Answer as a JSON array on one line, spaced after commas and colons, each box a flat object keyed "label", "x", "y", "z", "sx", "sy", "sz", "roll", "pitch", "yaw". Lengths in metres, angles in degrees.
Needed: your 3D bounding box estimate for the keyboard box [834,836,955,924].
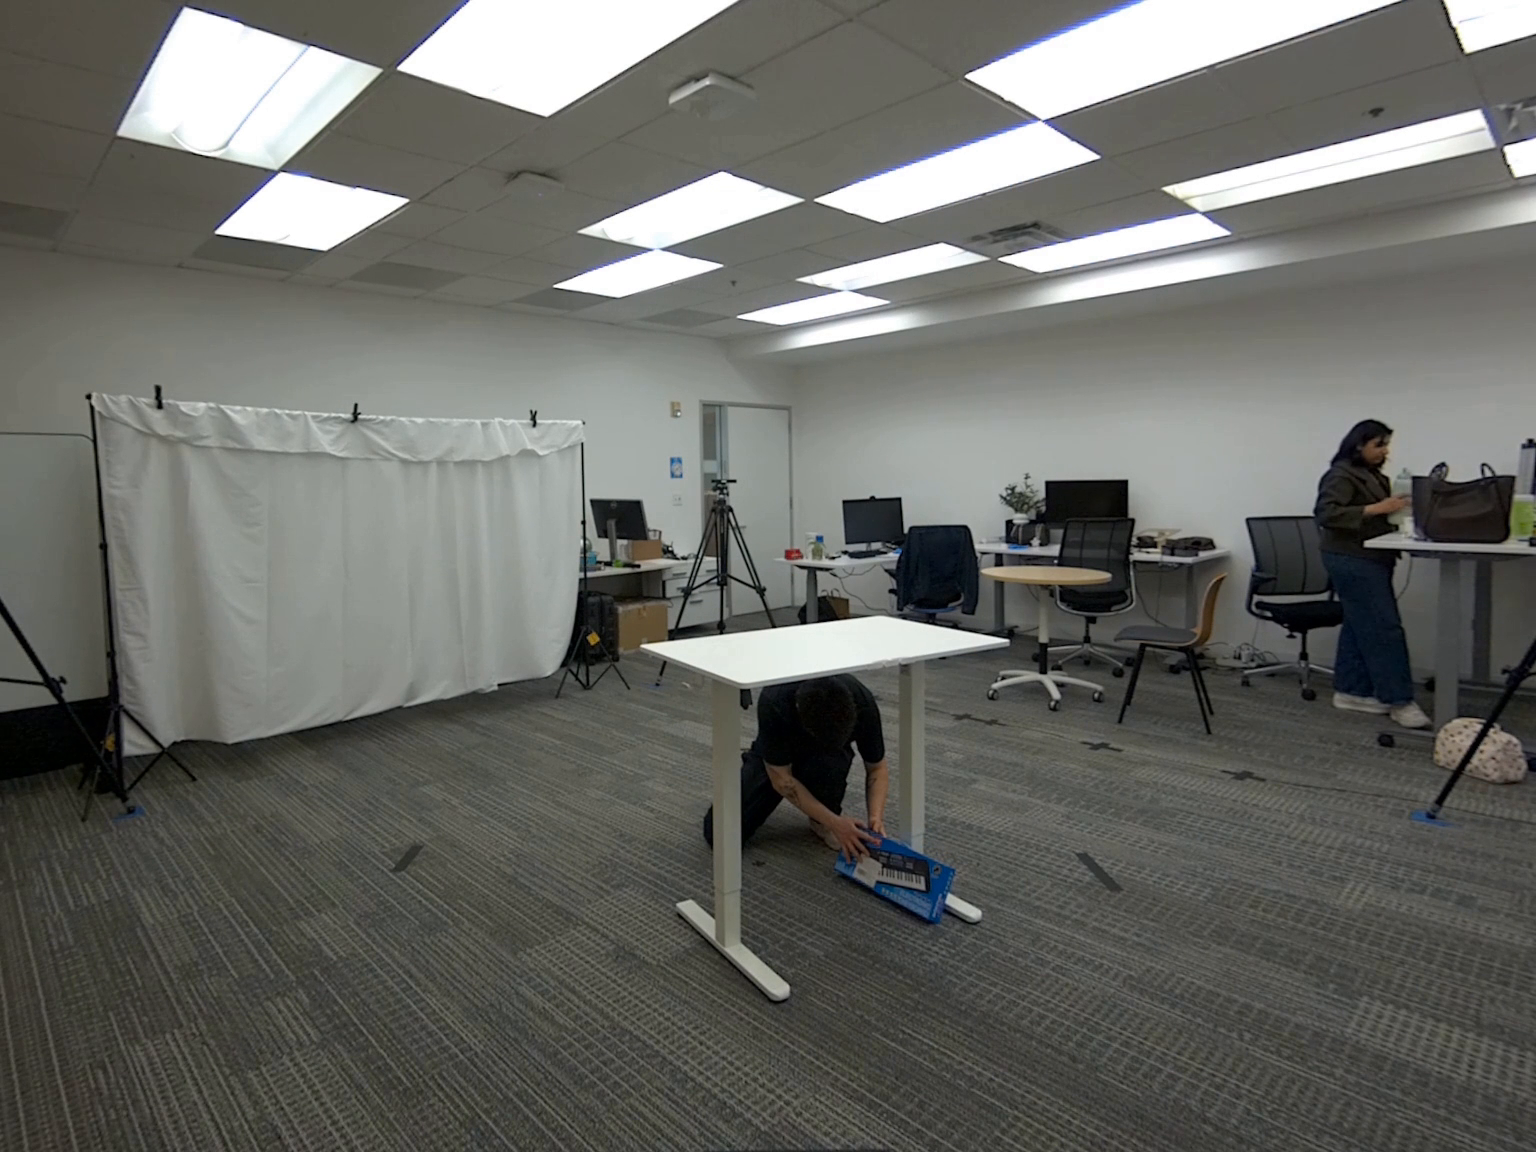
[{"label": "keyboard box", "x": 0.420, "y": 0.989, "z": 2.851, "sx": 0.057, "sy": 0.177, "sz": 0.450, "roll": 28, "pitch": -13, "yaw": -34}]
